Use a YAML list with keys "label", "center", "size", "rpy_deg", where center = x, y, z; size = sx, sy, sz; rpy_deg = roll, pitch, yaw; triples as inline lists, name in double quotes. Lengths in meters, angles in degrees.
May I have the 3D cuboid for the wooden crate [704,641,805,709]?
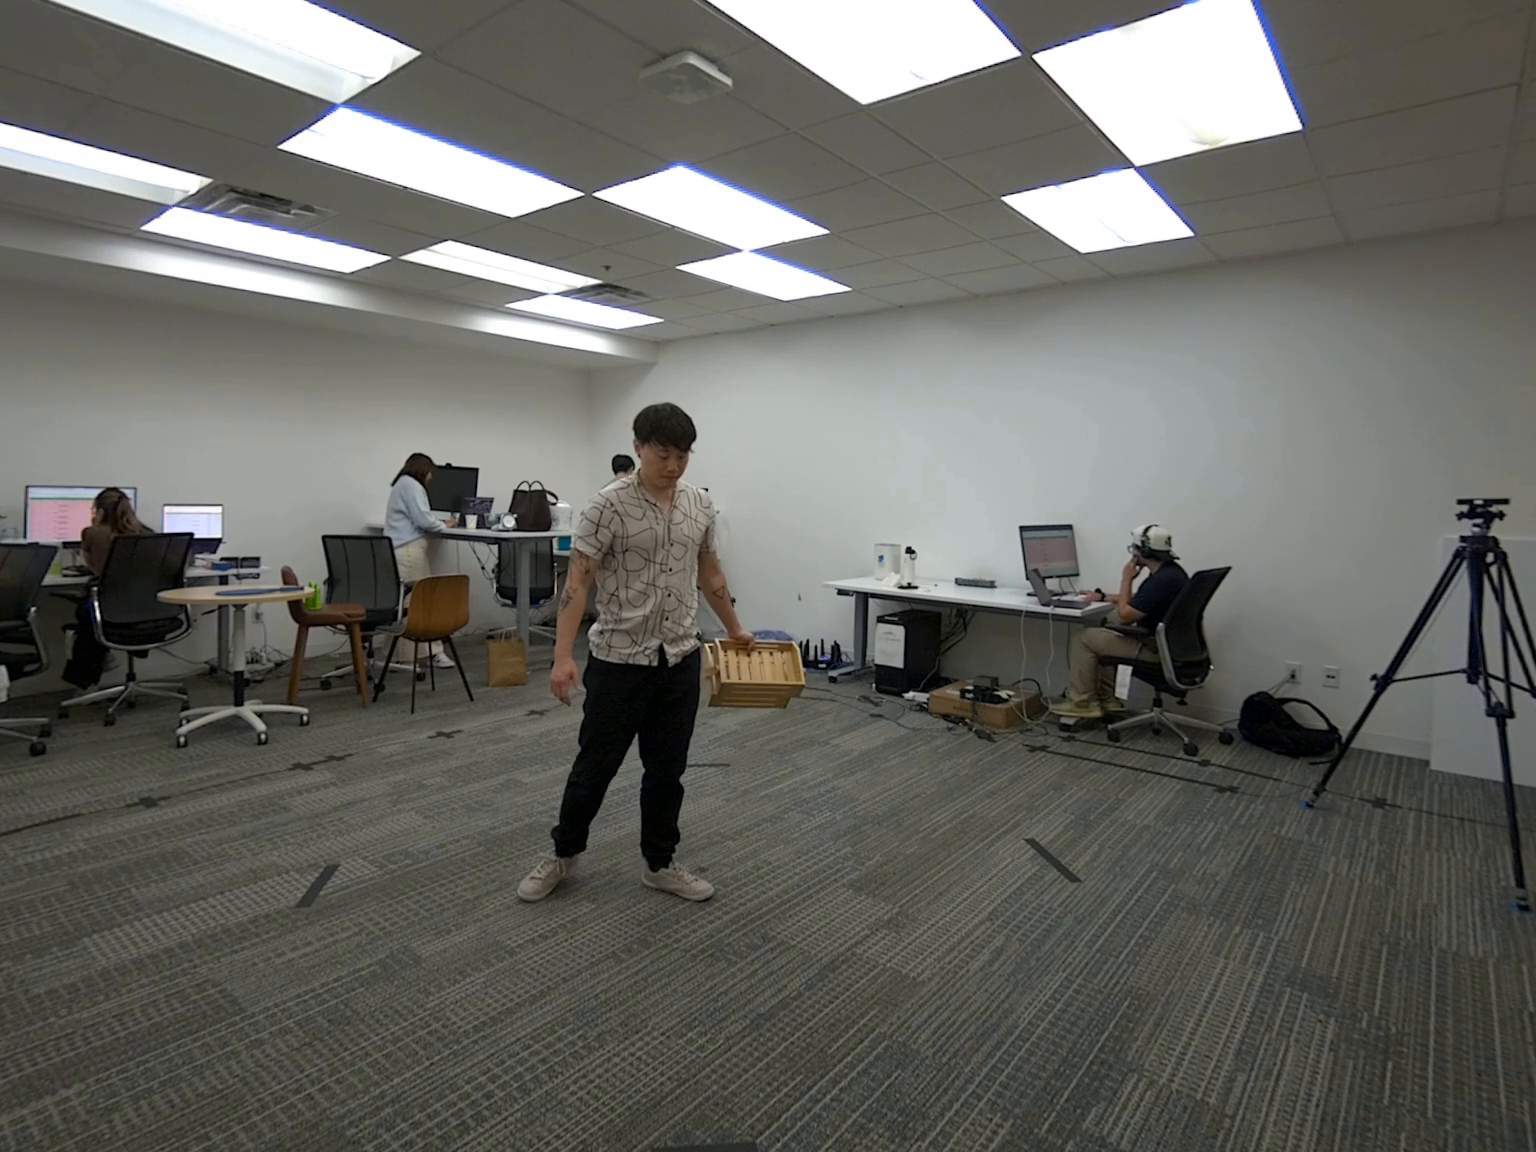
- label: "wooden crate"
  center: [-0.066, 0.330, 3.143]
  size: [0.320, 0.312, 0.268]
  rpy_deg: [3, -40, -13]
